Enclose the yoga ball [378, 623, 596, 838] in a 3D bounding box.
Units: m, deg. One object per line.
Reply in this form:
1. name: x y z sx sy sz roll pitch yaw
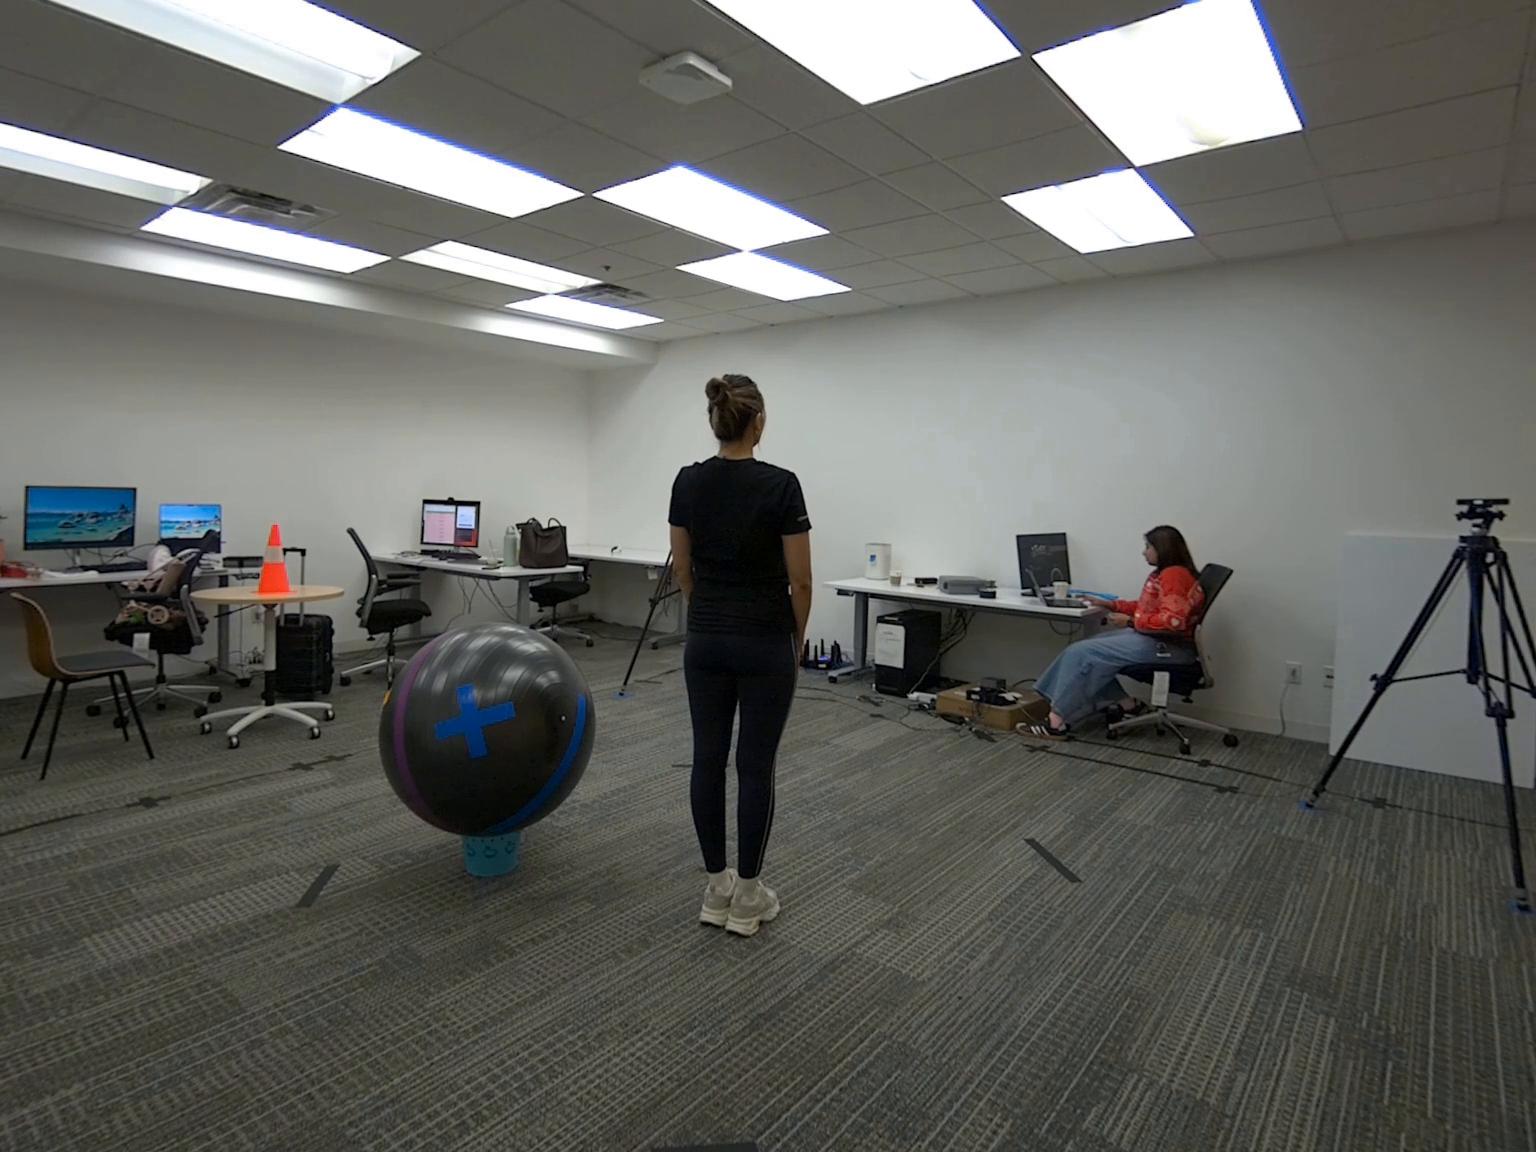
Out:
1. yoga ball: -1.024 0.554 3.086 0.757 0.756 0.762 1 4 -2
